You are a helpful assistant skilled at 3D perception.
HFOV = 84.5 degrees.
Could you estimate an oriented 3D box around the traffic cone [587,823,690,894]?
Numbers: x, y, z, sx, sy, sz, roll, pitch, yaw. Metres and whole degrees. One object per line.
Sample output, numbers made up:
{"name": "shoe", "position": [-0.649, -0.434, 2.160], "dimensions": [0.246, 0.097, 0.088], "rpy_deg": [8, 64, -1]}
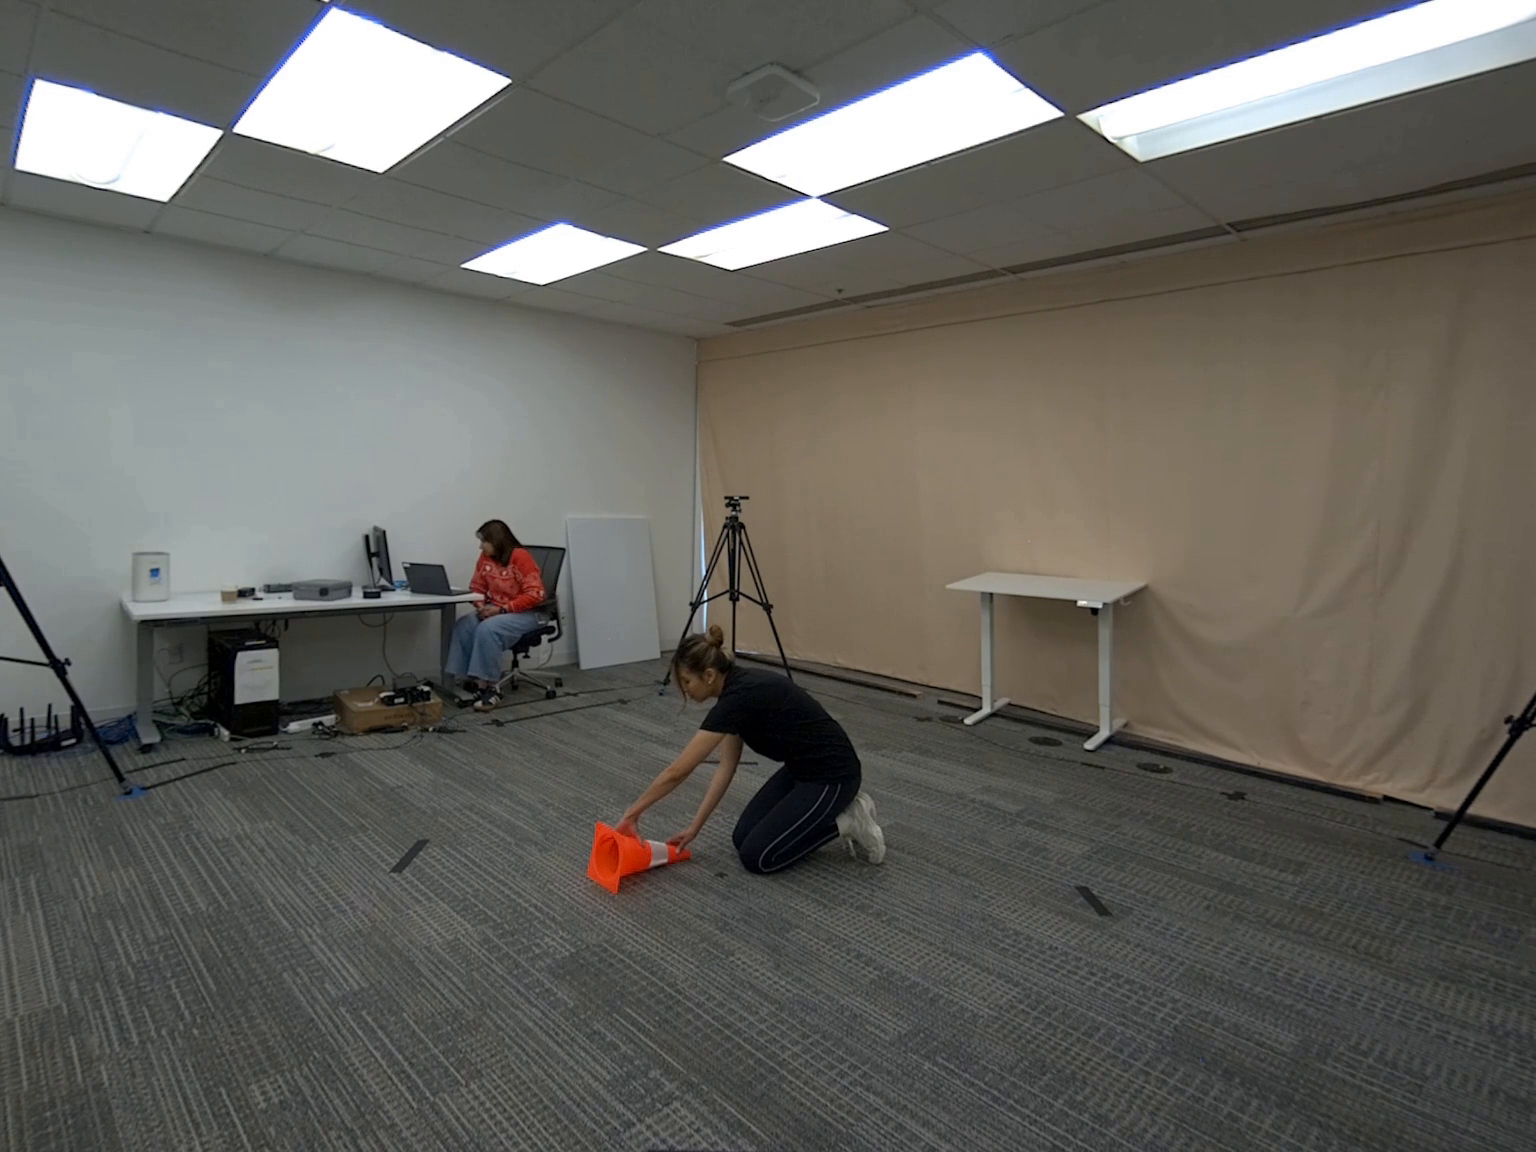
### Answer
{"name": "traffic cone", "position": [-0.452, 1.039, 3.130], "dimensions": [0.373, 0.205, 0.208], "rpy_deg": [13, -4, -42]}
